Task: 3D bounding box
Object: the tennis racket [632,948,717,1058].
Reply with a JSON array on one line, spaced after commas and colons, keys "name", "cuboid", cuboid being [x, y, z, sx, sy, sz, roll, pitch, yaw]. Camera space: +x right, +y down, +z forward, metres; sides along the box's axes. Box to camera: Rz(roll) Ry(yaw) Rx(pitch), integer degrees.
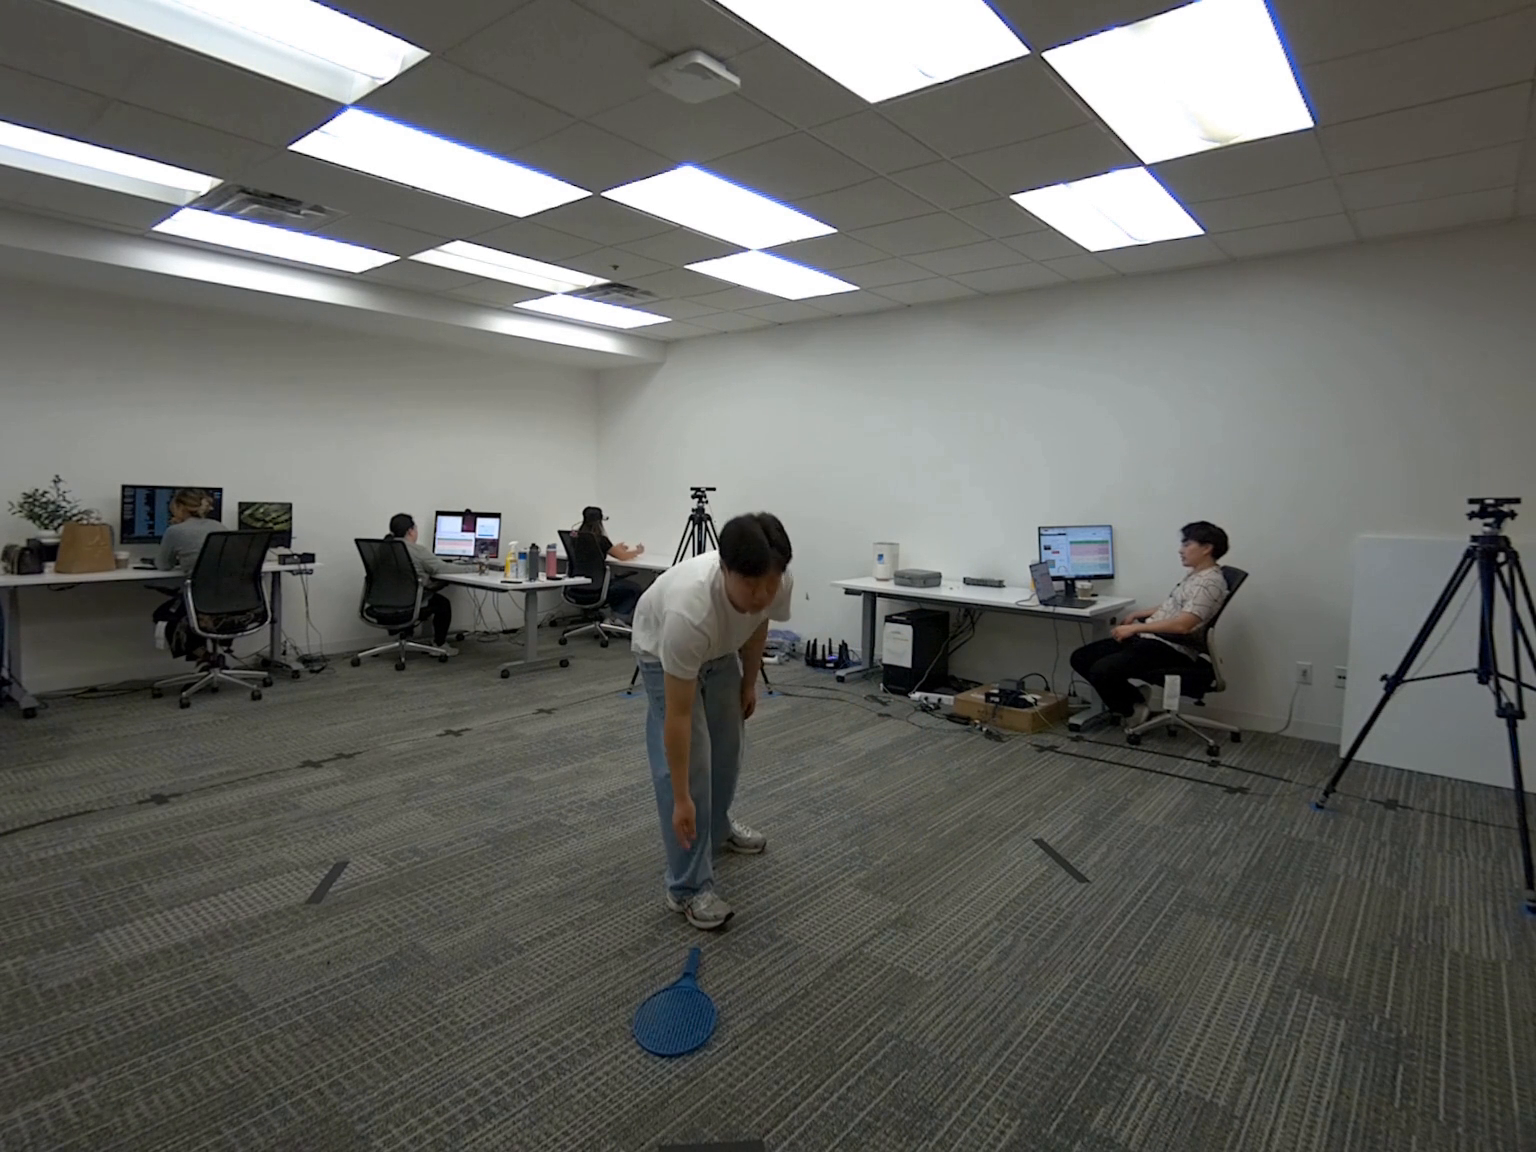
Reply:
[{"name": "tennis racket", "cuboid": [-0.234, 1.134, 2.285, 0.216, 0.031, 0.431, 2, 8, 8]}]
